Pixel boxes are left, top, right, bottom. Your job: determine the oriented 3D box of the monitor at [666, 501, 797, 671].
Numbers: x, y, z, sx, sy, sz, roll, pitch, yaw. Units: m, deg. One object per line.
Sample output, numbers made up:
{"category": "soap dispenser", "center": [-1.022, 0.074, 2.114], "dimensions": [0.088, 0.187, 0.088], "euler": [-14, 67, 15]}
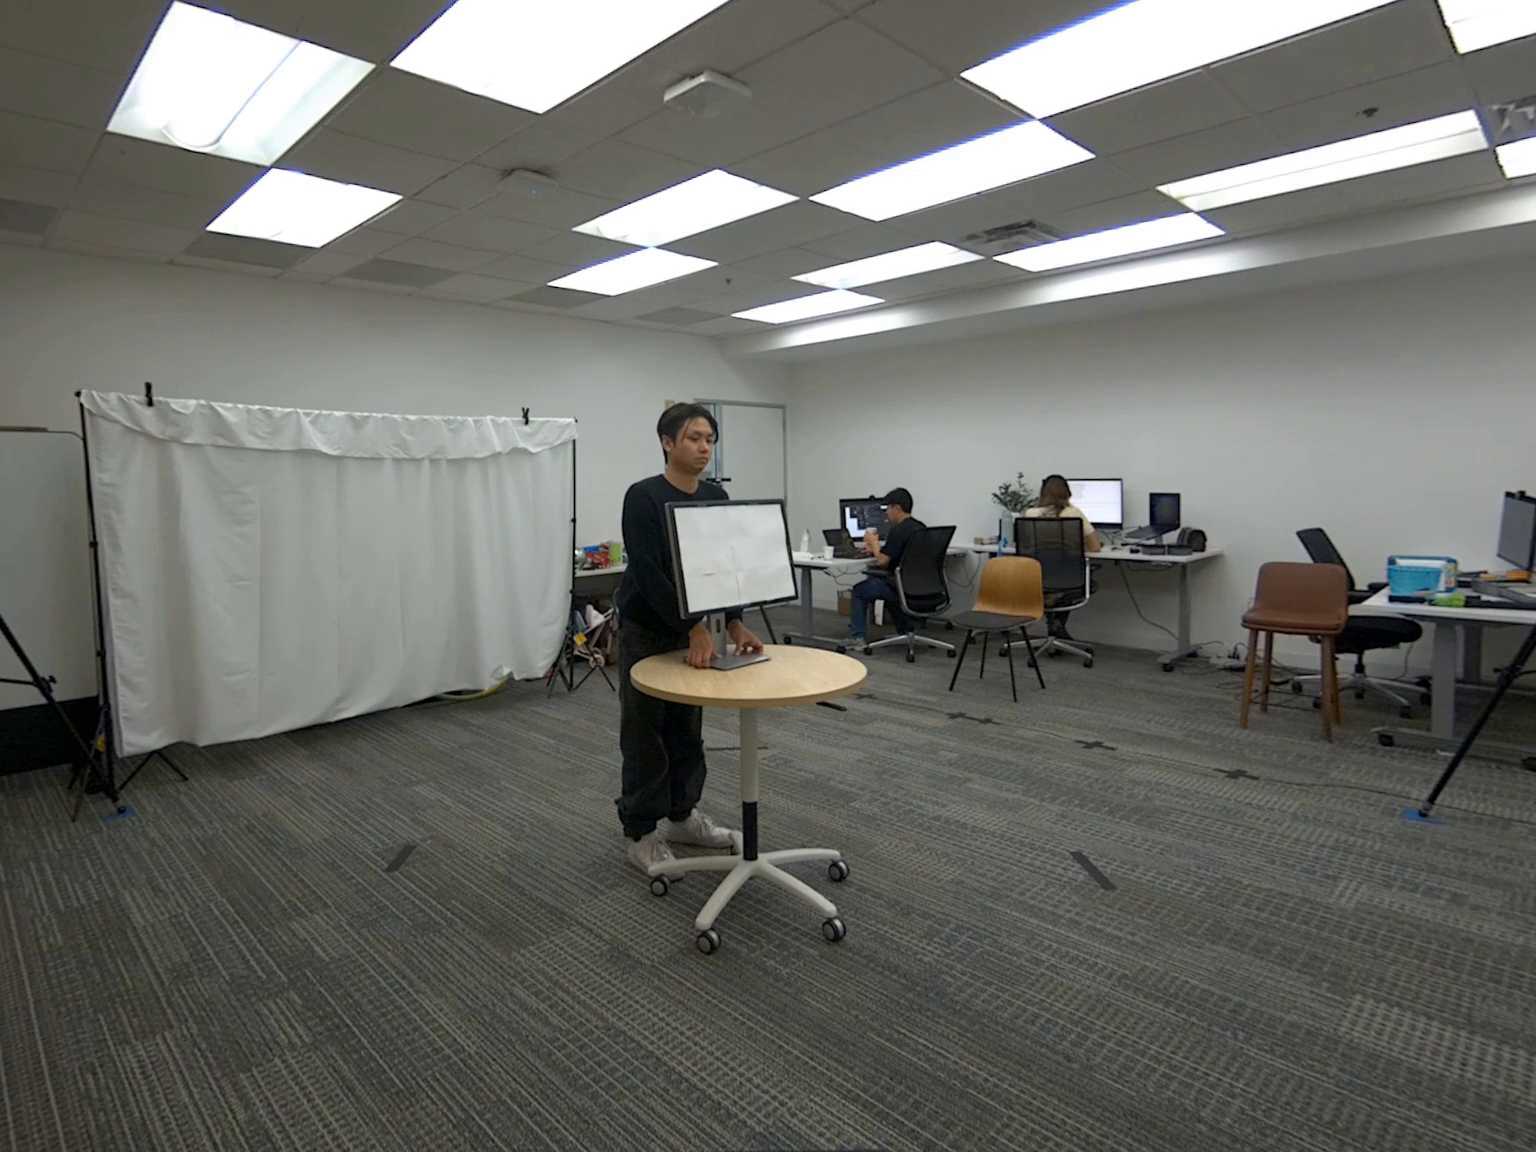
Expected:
{"category": "monitor", "center": [-0.135, 0.019, 2.874], "dimensions": [0.193, 0.520, 0.525], "euler": [5, 7, 40]}
